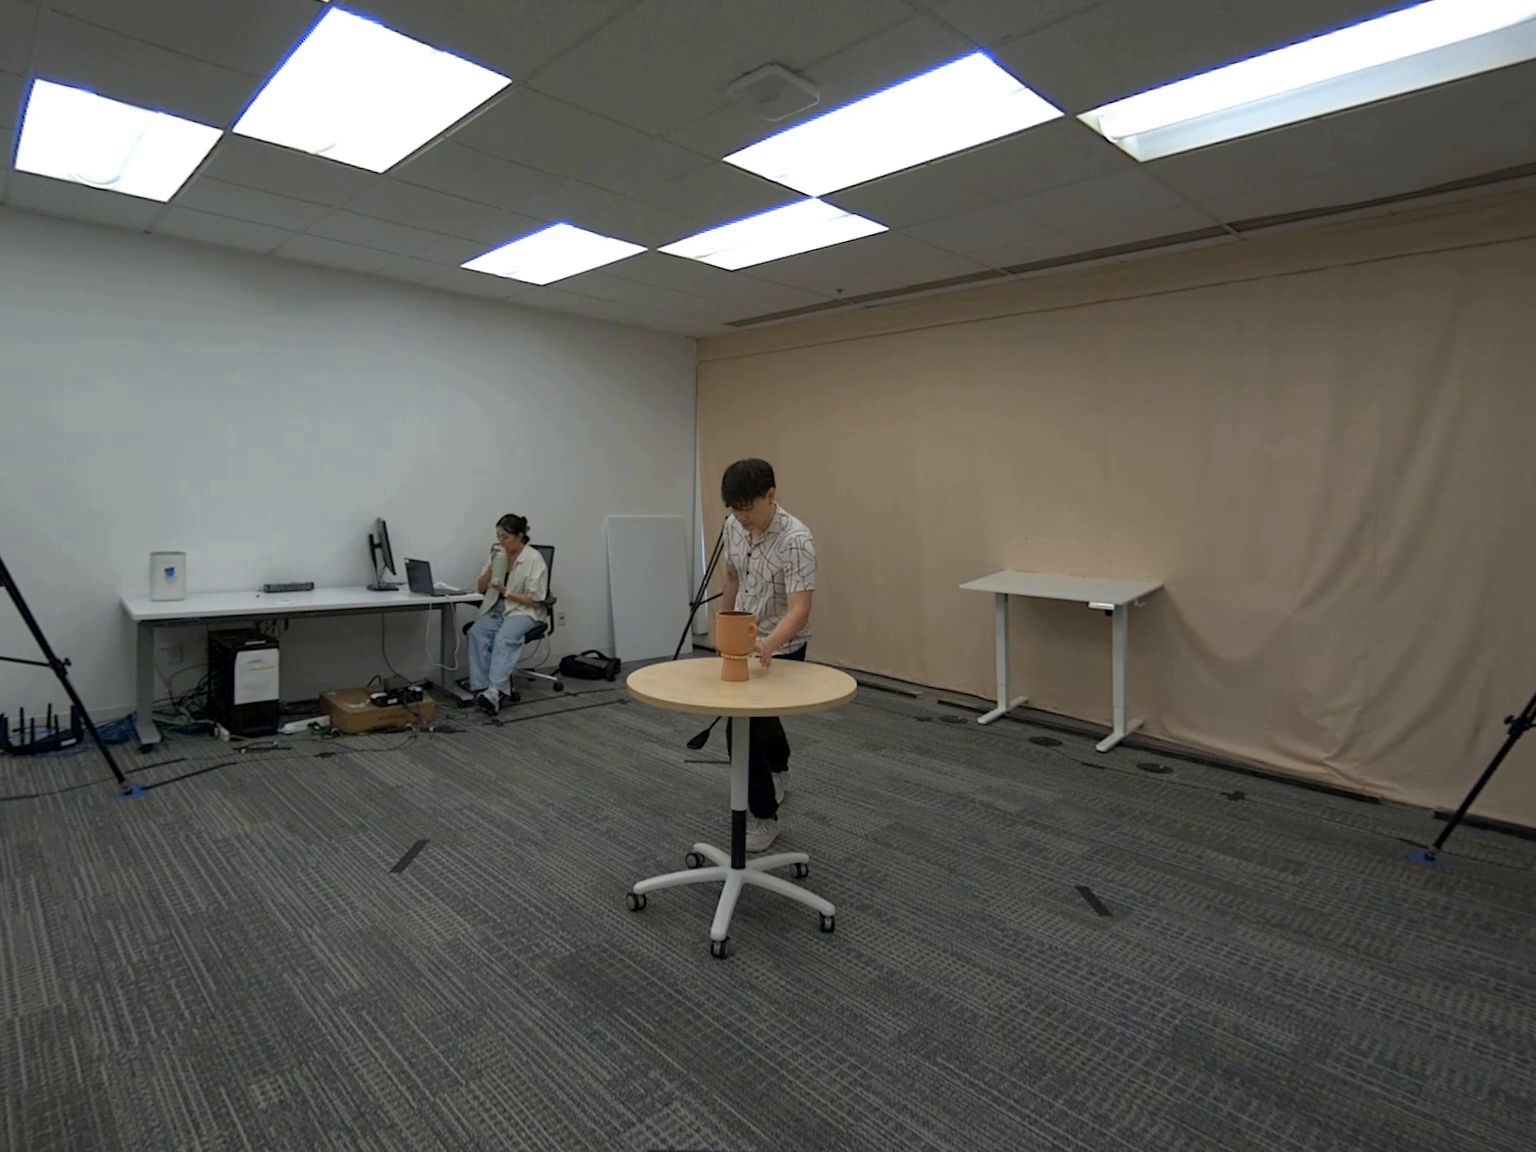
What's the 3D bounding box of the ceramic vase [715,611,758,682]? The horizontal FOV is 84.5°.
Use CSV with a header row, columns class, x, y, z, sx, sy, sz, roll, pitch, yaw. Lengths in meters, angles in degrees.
class,x,y,z,sx,sy,sz,roll,pitch,yaw
ceramic vase,-0.125,0.238,2.819,0.133,0.219,0.160,1,4,-10
